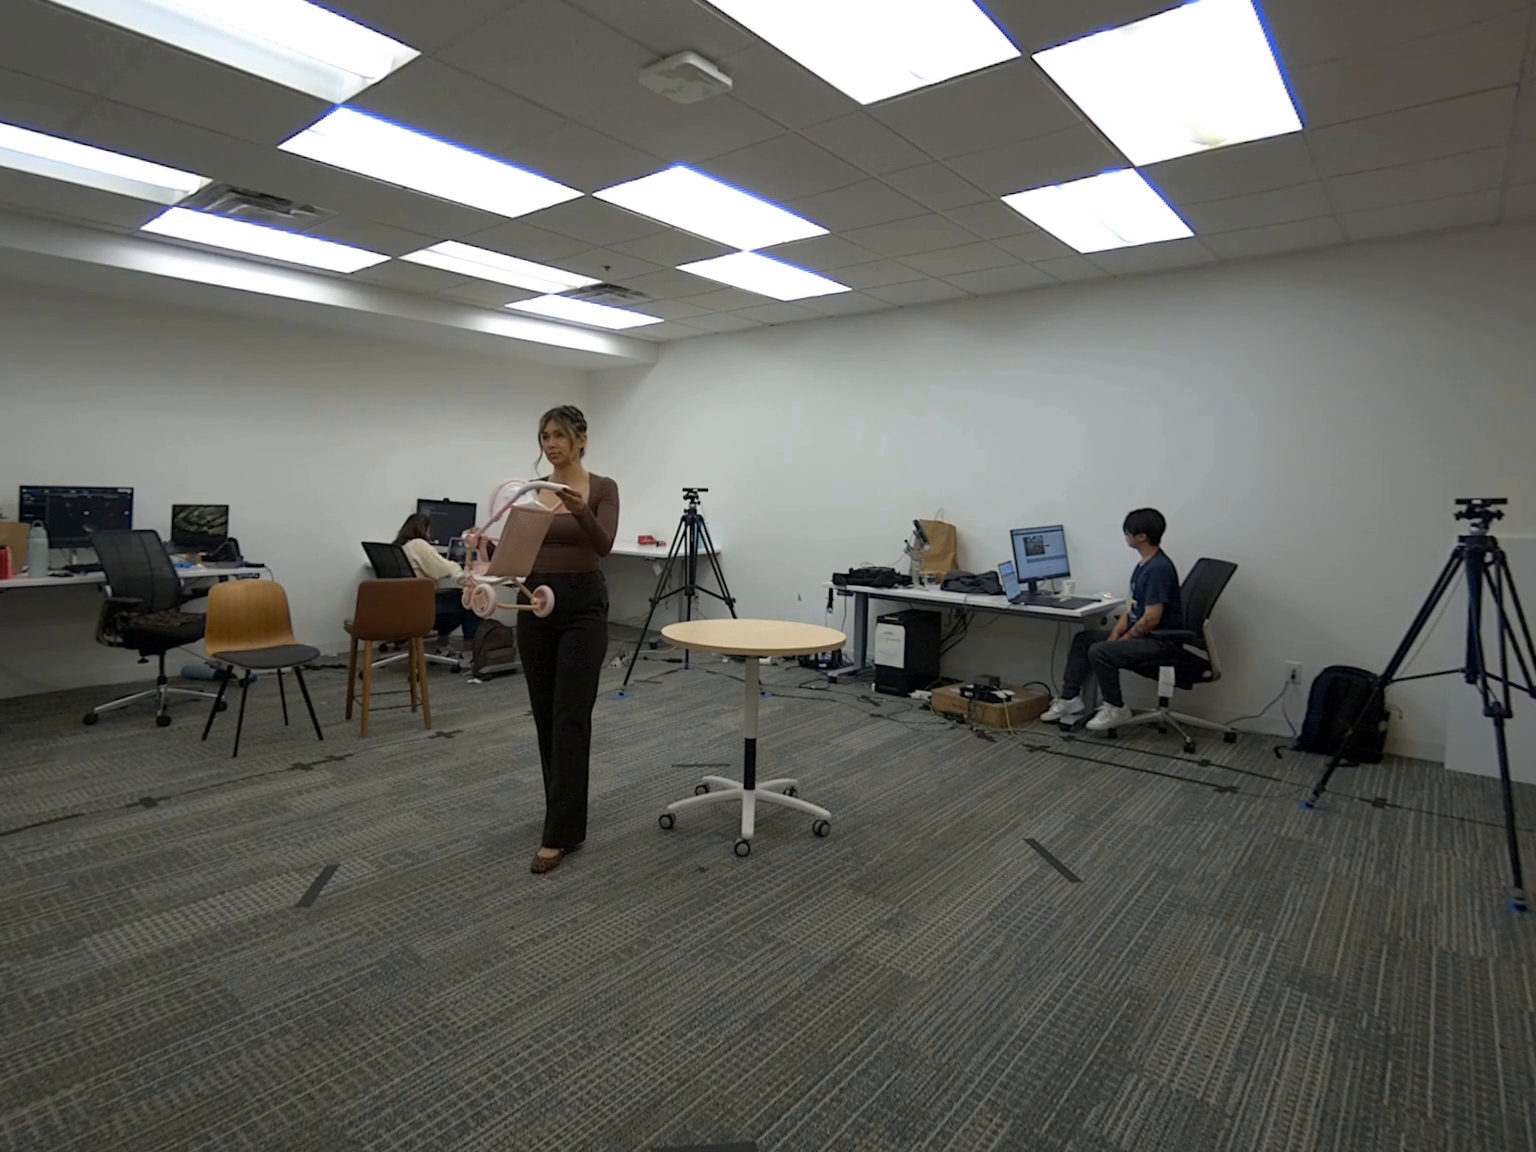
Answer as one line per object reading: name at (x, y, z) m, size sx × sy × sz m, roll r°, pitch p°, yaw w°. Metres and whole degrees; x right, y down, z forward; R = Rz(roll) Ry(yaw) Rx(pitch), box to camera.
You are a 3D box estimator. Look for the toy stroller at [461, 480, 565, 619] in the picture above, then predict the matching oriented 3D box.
toy stroller at (-0.897, -0.099, 2.911) m, size 0.355 × 0.532 × 0.272 m, roll 21°, pitch 9°, yaw 40°
